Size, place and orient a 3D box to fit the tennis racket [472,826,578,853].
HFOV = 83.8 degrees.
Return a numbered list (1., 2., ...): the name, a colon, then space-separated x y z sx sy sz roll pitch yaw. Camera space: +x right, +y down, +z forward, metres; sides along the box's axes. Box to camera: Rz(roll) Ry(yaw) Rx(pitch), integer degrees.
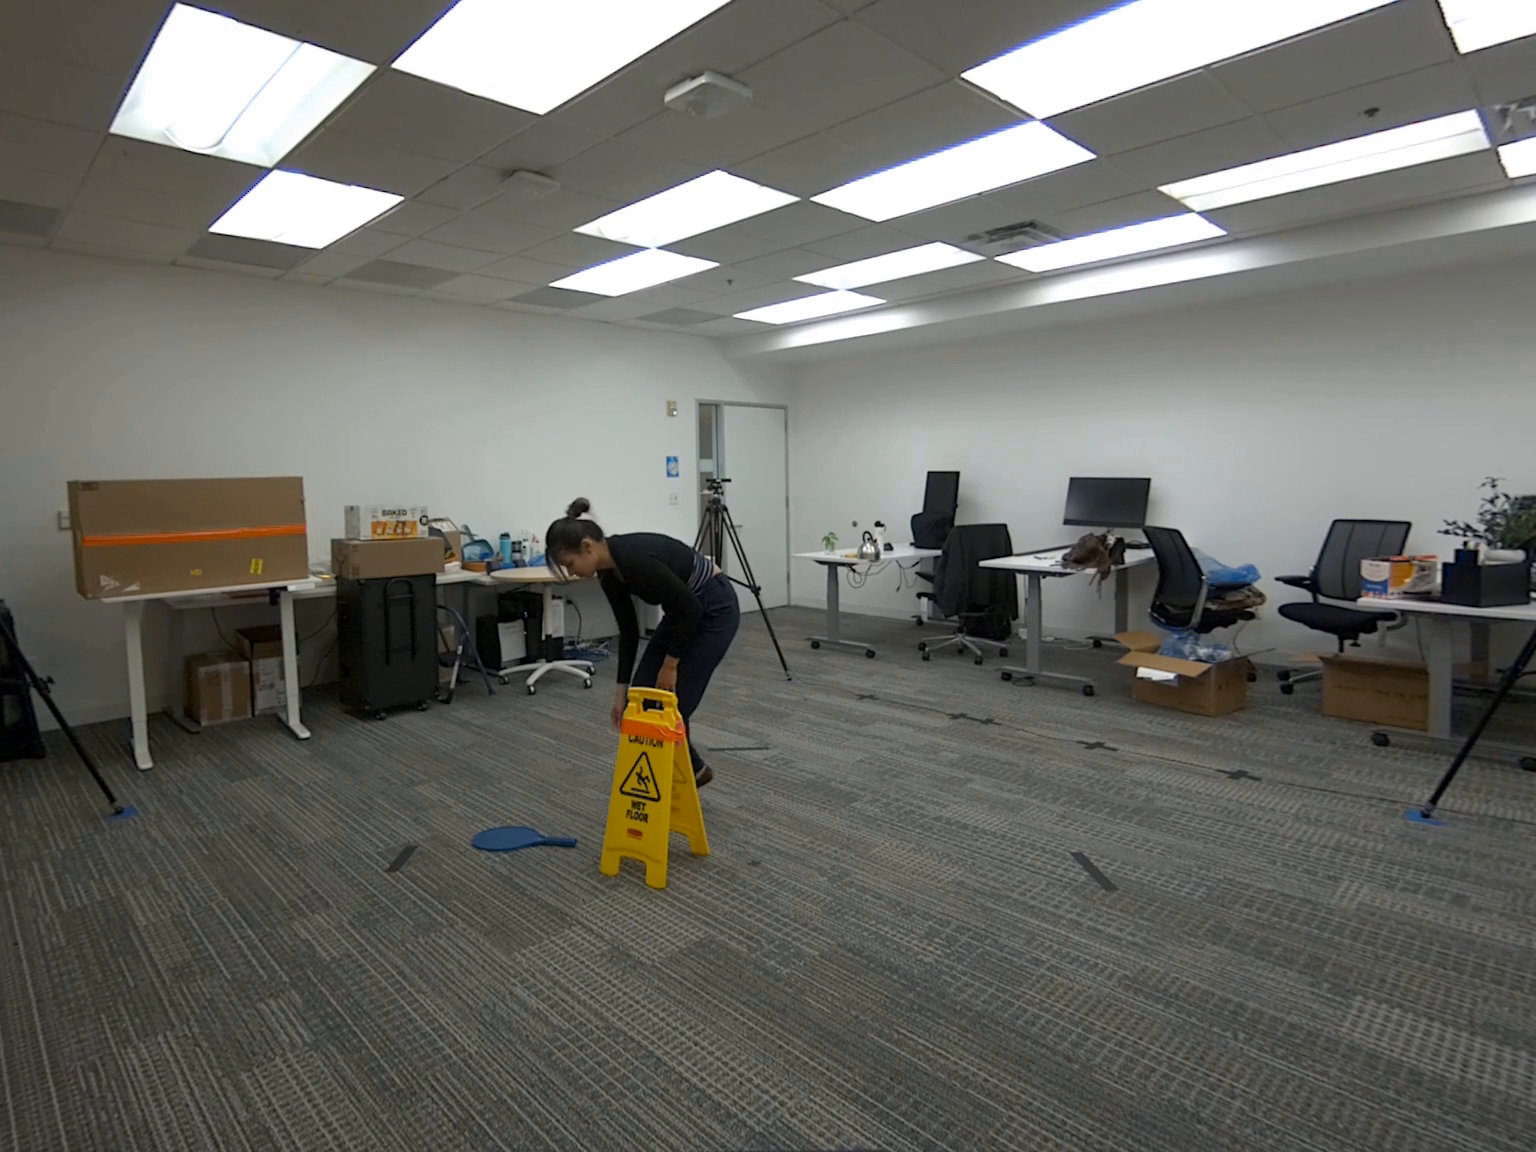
1. tennis racket: -0.946 1.028 3.328 0.439 0.031 0.212 -1 6 13
